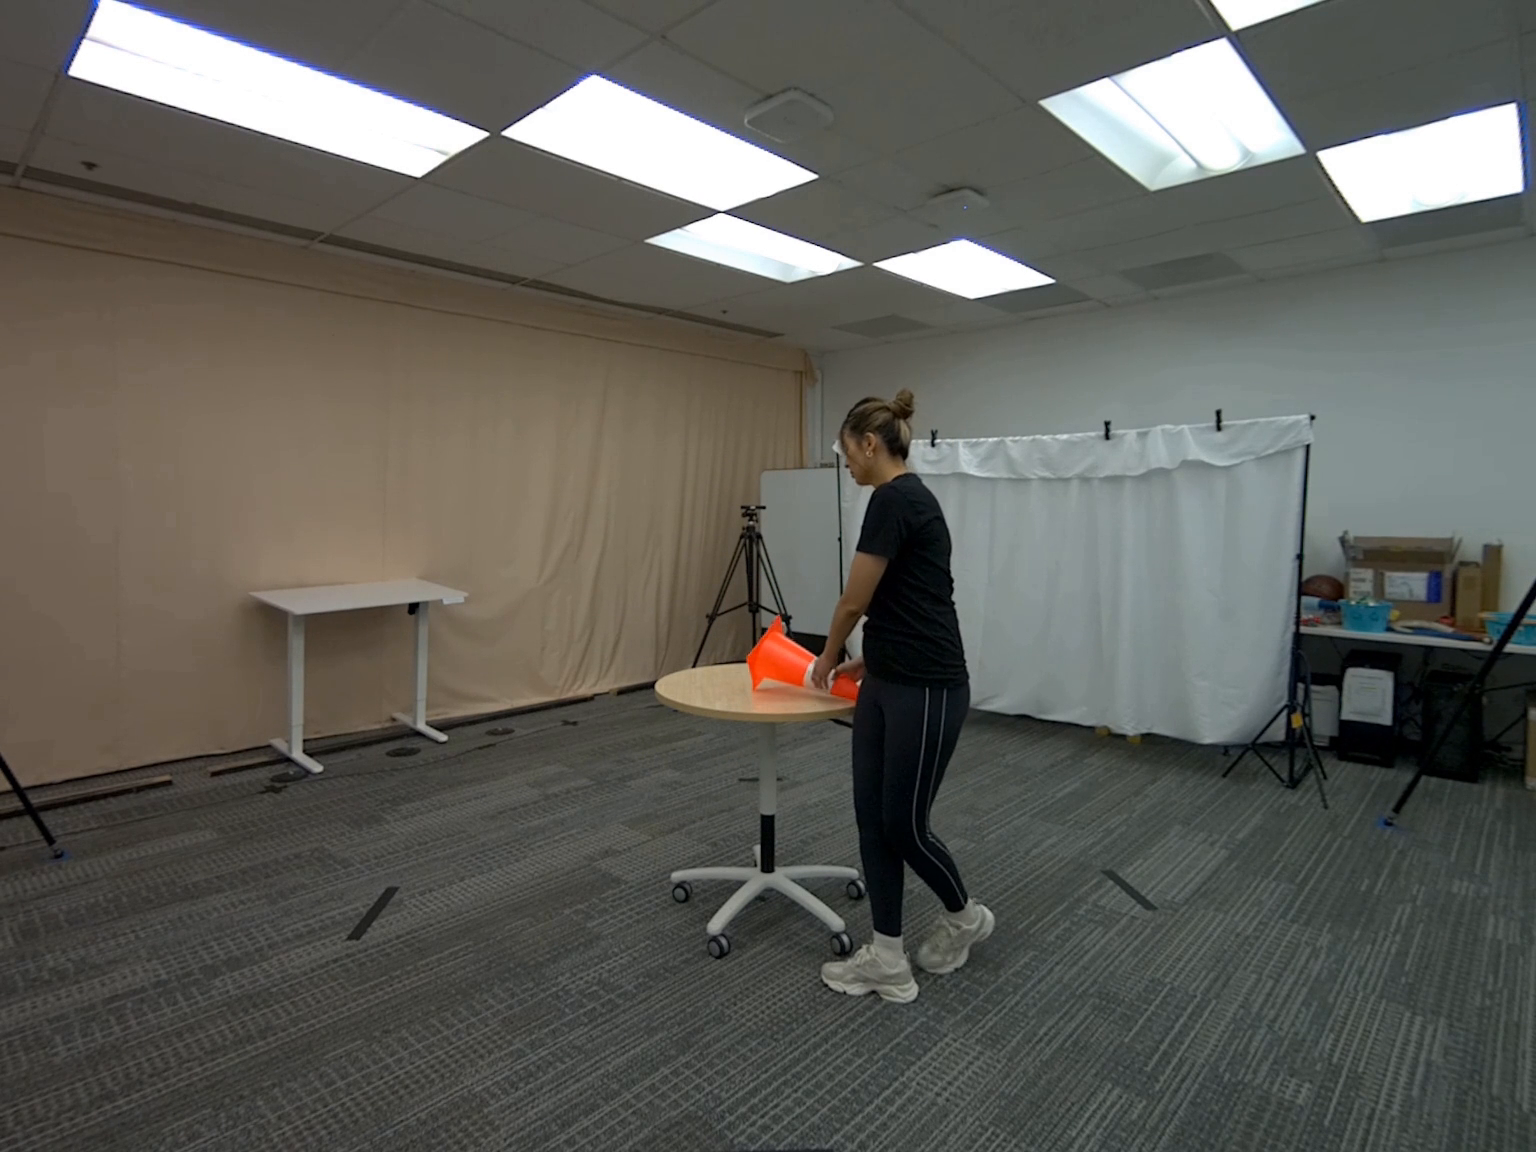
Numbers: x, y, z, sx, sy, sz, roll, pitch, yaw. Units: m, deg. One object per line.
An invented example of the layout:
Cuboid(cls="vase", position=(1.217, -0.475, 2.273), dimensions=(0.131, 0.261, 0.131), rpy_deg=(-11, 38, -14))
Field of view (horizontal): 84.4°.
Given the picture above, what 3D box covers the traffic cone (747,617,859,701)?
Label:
Cuboid(cls="traffic cone", position=(0.161, 0.328, 2.674), dimensions=(0.395, 0.200, 0.202), rpy_deg=(25, 56, 26))
